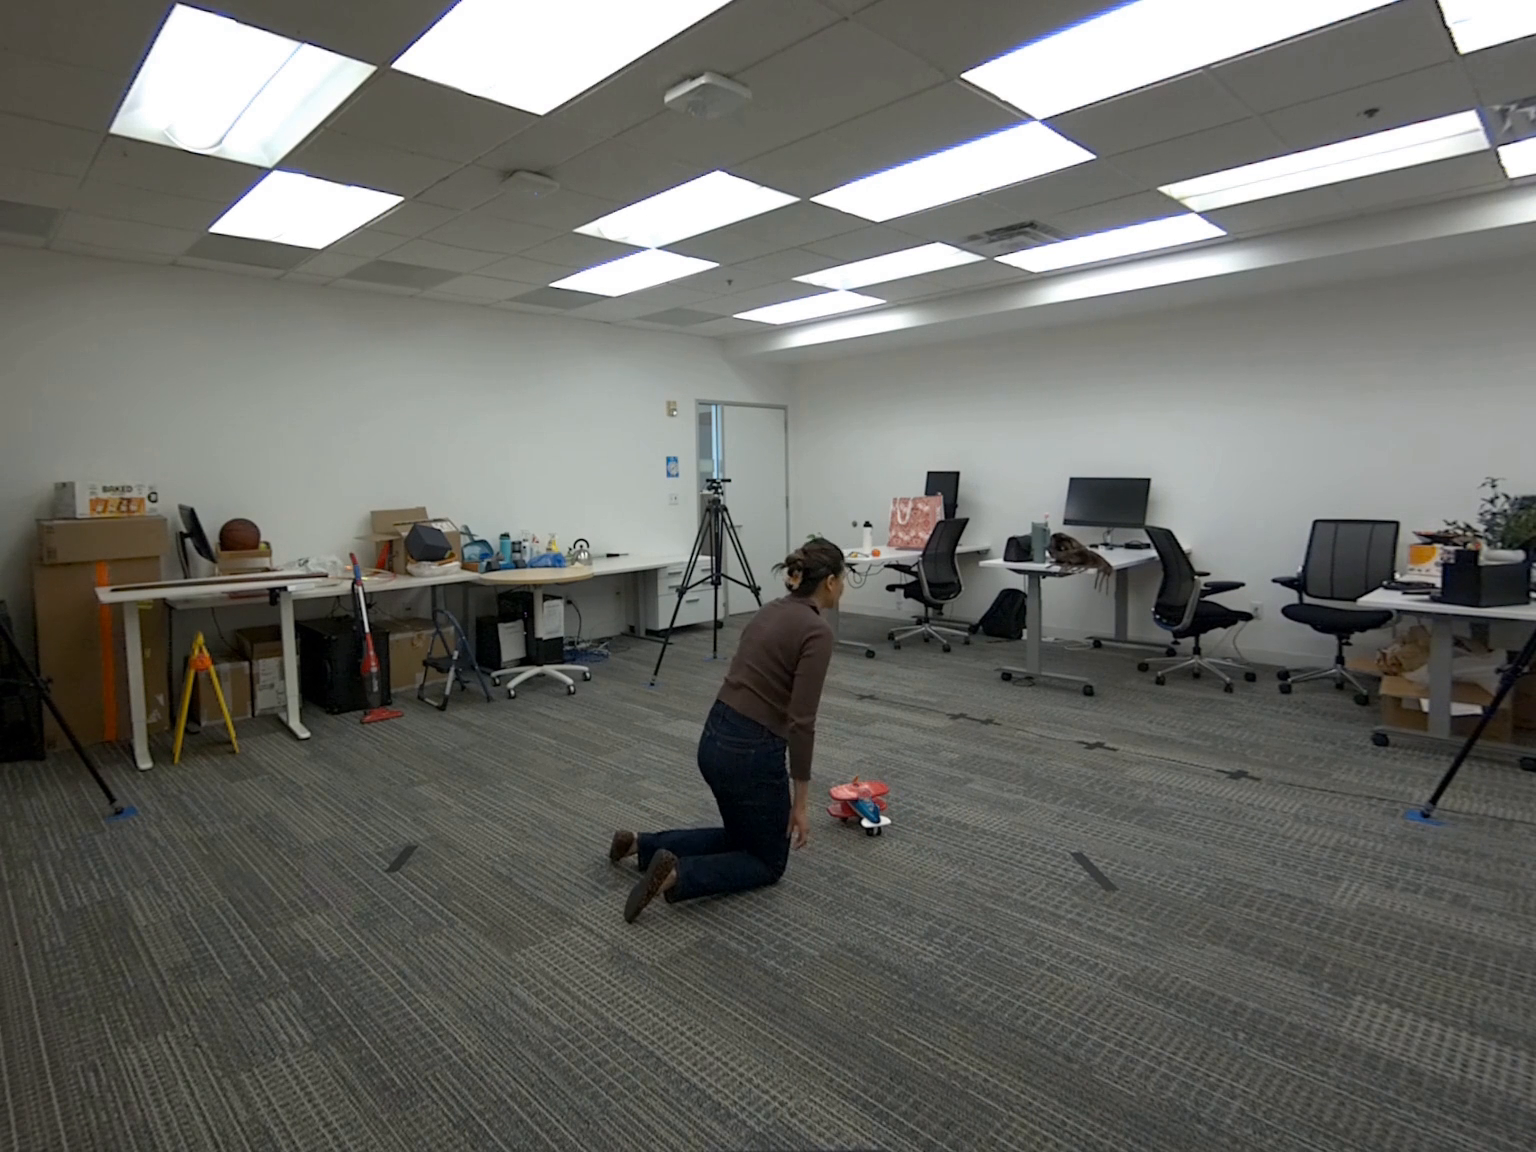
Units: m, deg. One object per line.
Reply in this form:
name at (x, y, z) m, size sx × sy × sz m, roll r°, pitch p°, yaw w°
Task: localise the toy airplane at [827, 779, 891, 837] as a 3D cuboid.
toy airplane at (0.396, 0.927, 3.423) m, size 0.267 × 0.156 × 0.244 m, roll 2°, pitch 6°, yaw 42°
